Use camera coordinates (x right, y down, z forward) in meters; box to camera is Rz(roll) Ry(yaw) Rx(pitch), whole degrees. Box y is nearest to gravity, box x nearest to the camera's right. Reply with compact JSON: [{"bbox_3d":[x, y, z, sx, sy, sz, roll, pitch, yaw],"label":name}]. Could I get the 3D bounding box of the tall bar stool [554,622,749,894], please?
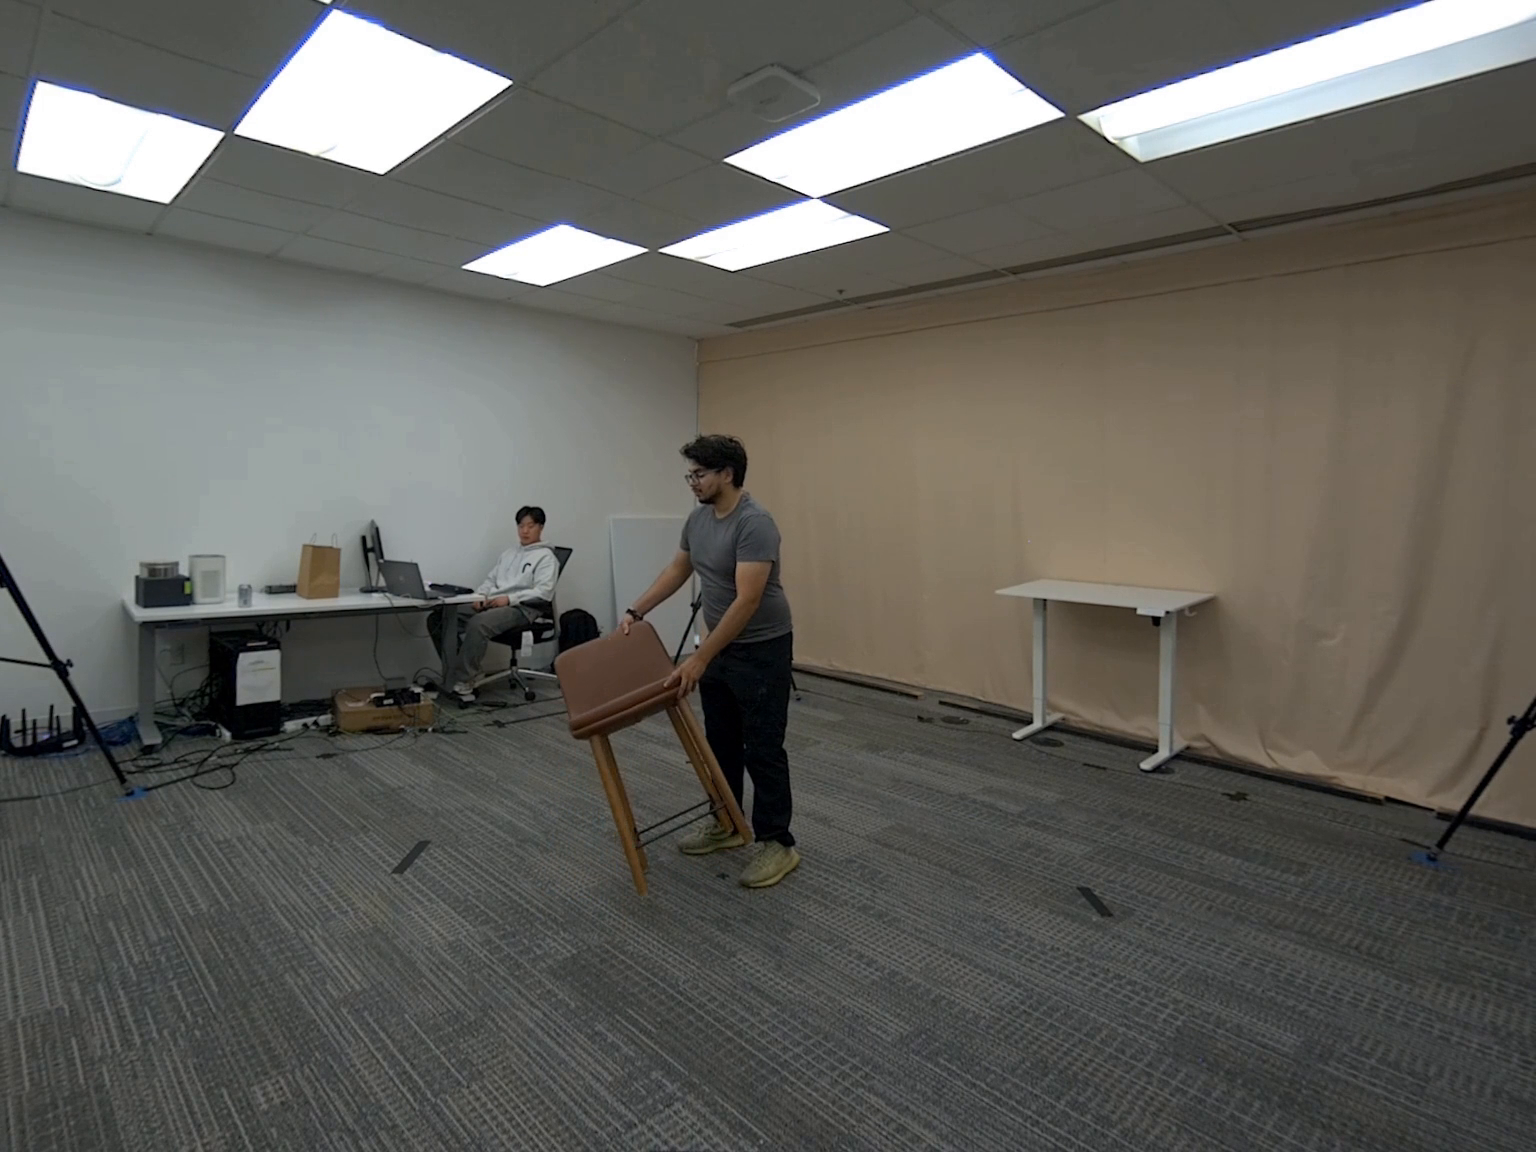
[{"bbox_3d":[-0.449,0.602,3.014,0.454,0.899,0.465,-22,-10,-12],"label":"tall bar stool"}]
